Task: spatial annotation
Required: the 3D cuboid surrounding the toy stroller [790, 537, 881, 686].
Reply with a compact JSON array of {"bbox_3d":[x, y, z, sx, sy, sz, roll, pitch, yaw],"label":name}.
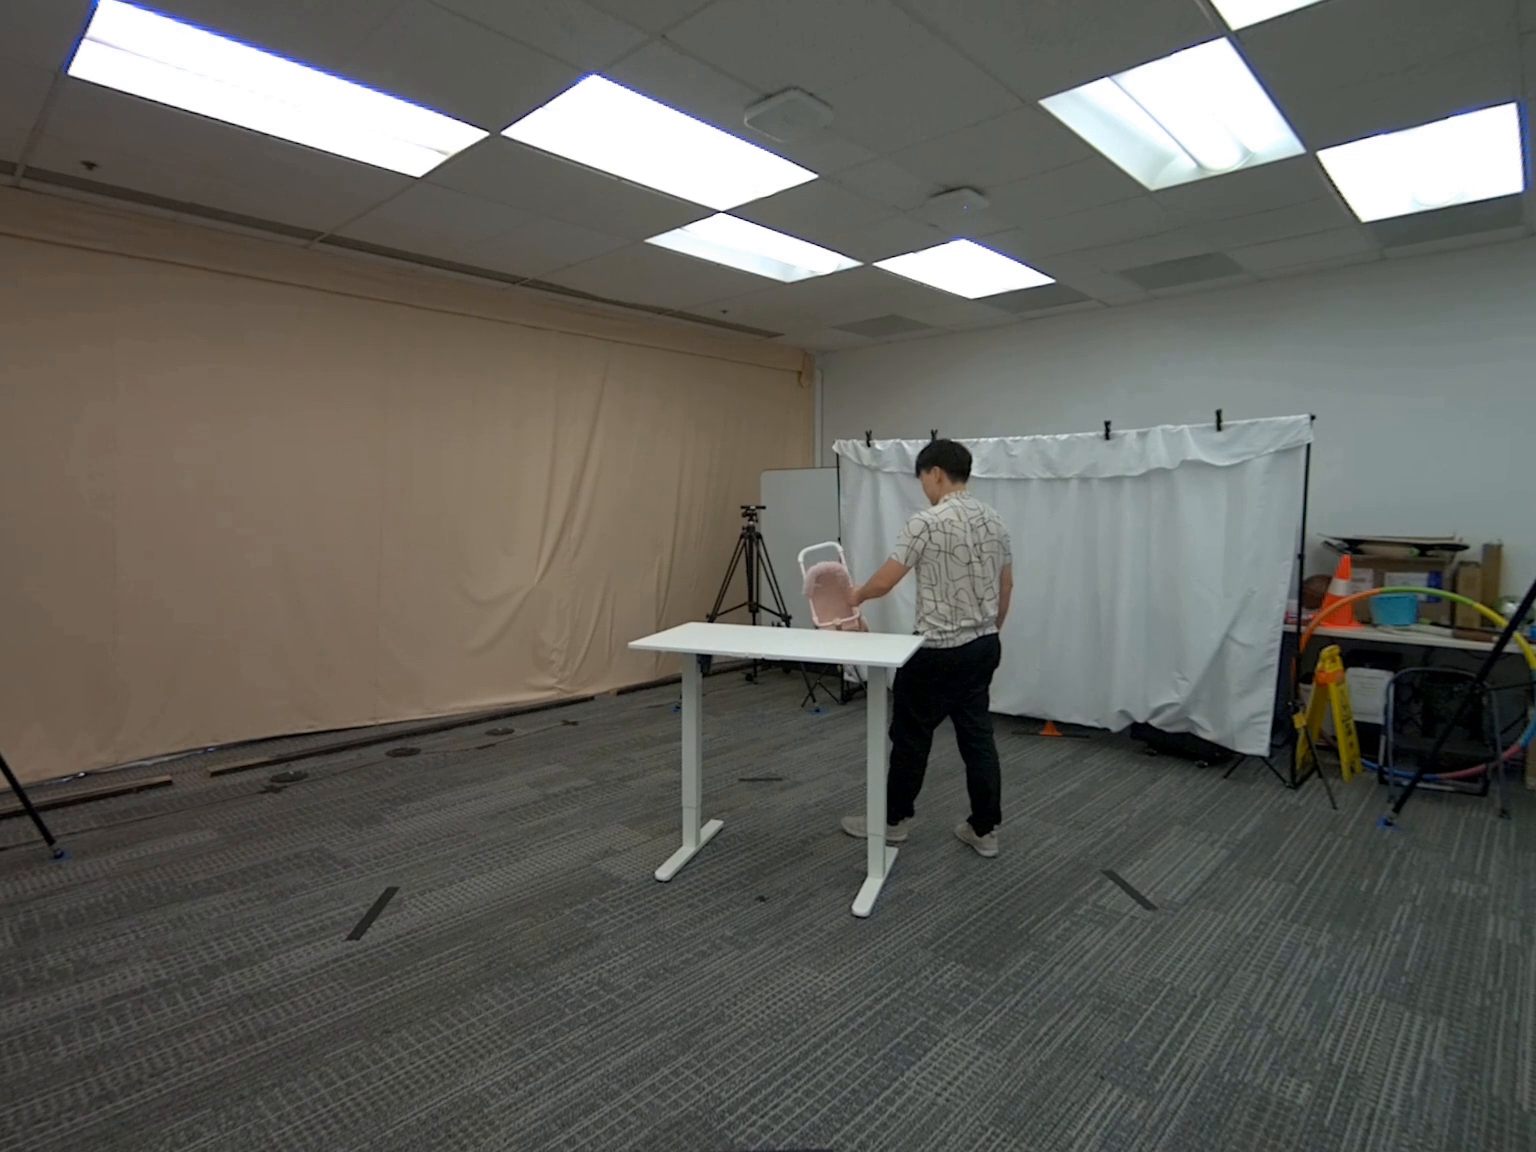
[{"bbox_3d":[0.291,0.148,3.749,0.283,0.530,0.342,-11,12,7],"label":"toy stroller"}]
